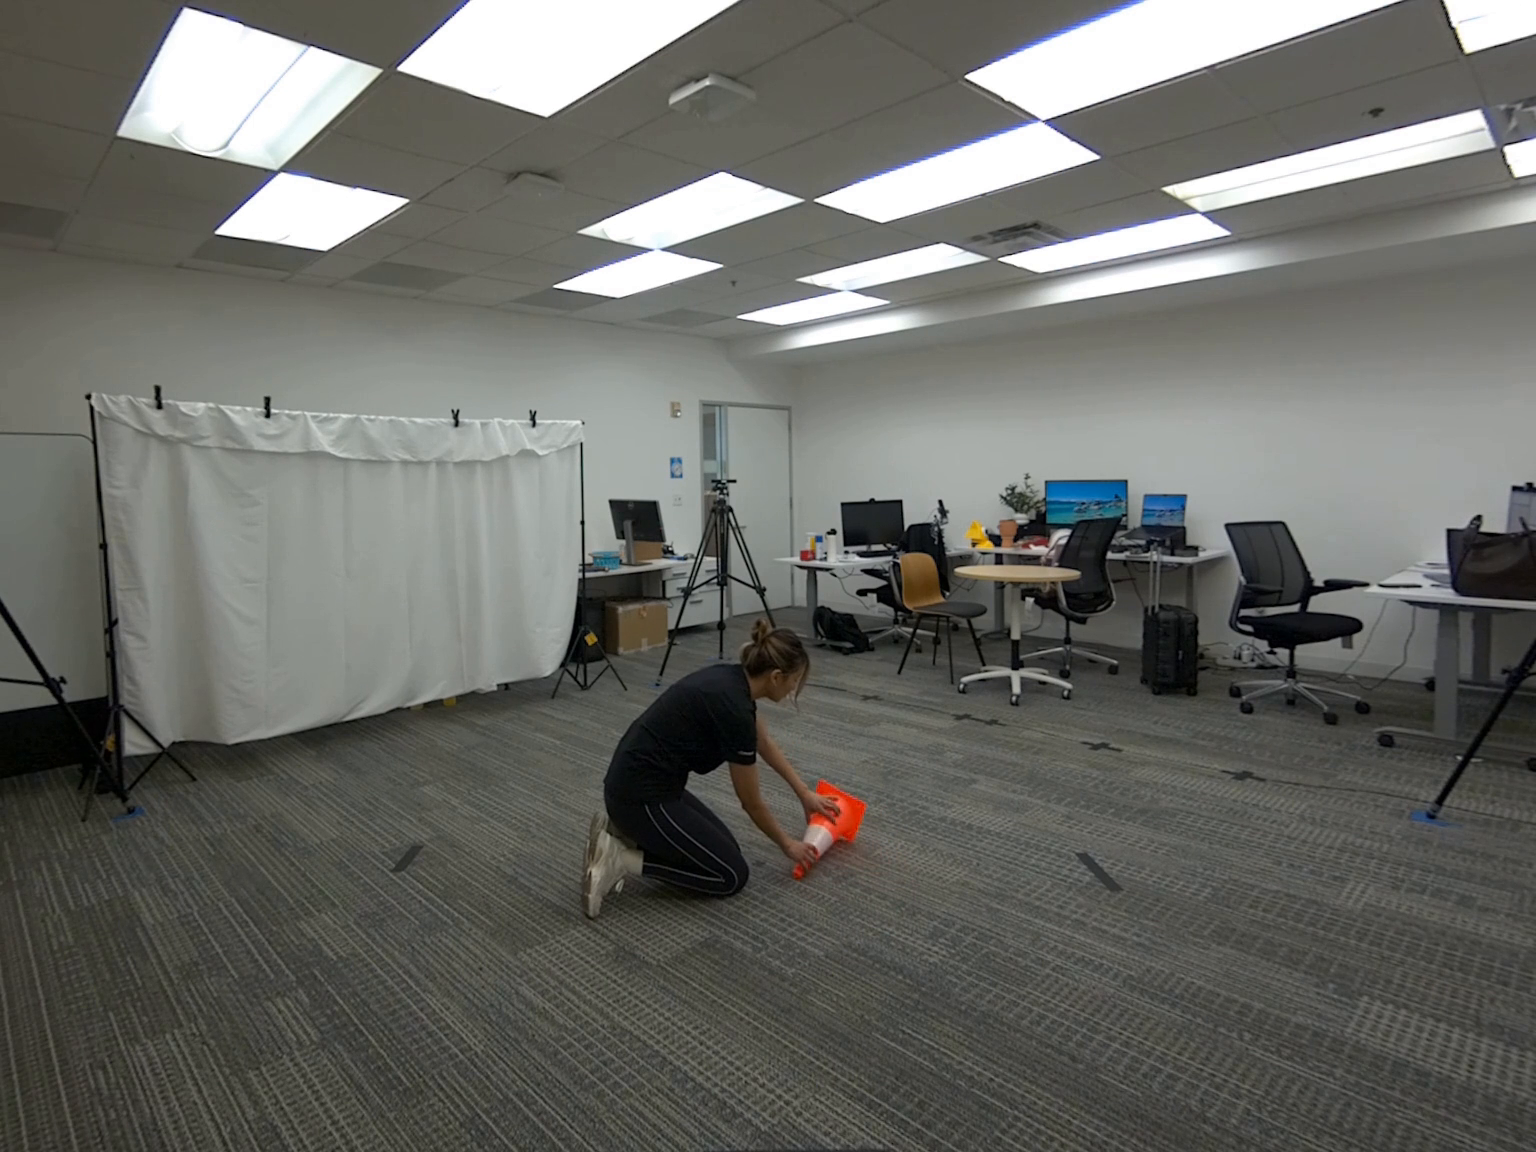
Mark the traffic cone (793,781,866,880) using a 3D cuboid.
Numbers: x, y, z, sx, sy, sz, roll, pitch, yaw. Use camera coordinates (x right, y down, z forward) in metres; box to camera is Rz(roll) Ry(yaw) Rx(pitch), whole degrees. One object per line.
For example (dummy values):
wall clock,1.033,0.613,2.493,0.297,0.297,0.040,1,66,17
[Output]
traffic cone,0.184,0.975,3.137,0.210,0.199,0.381,20,29,21
